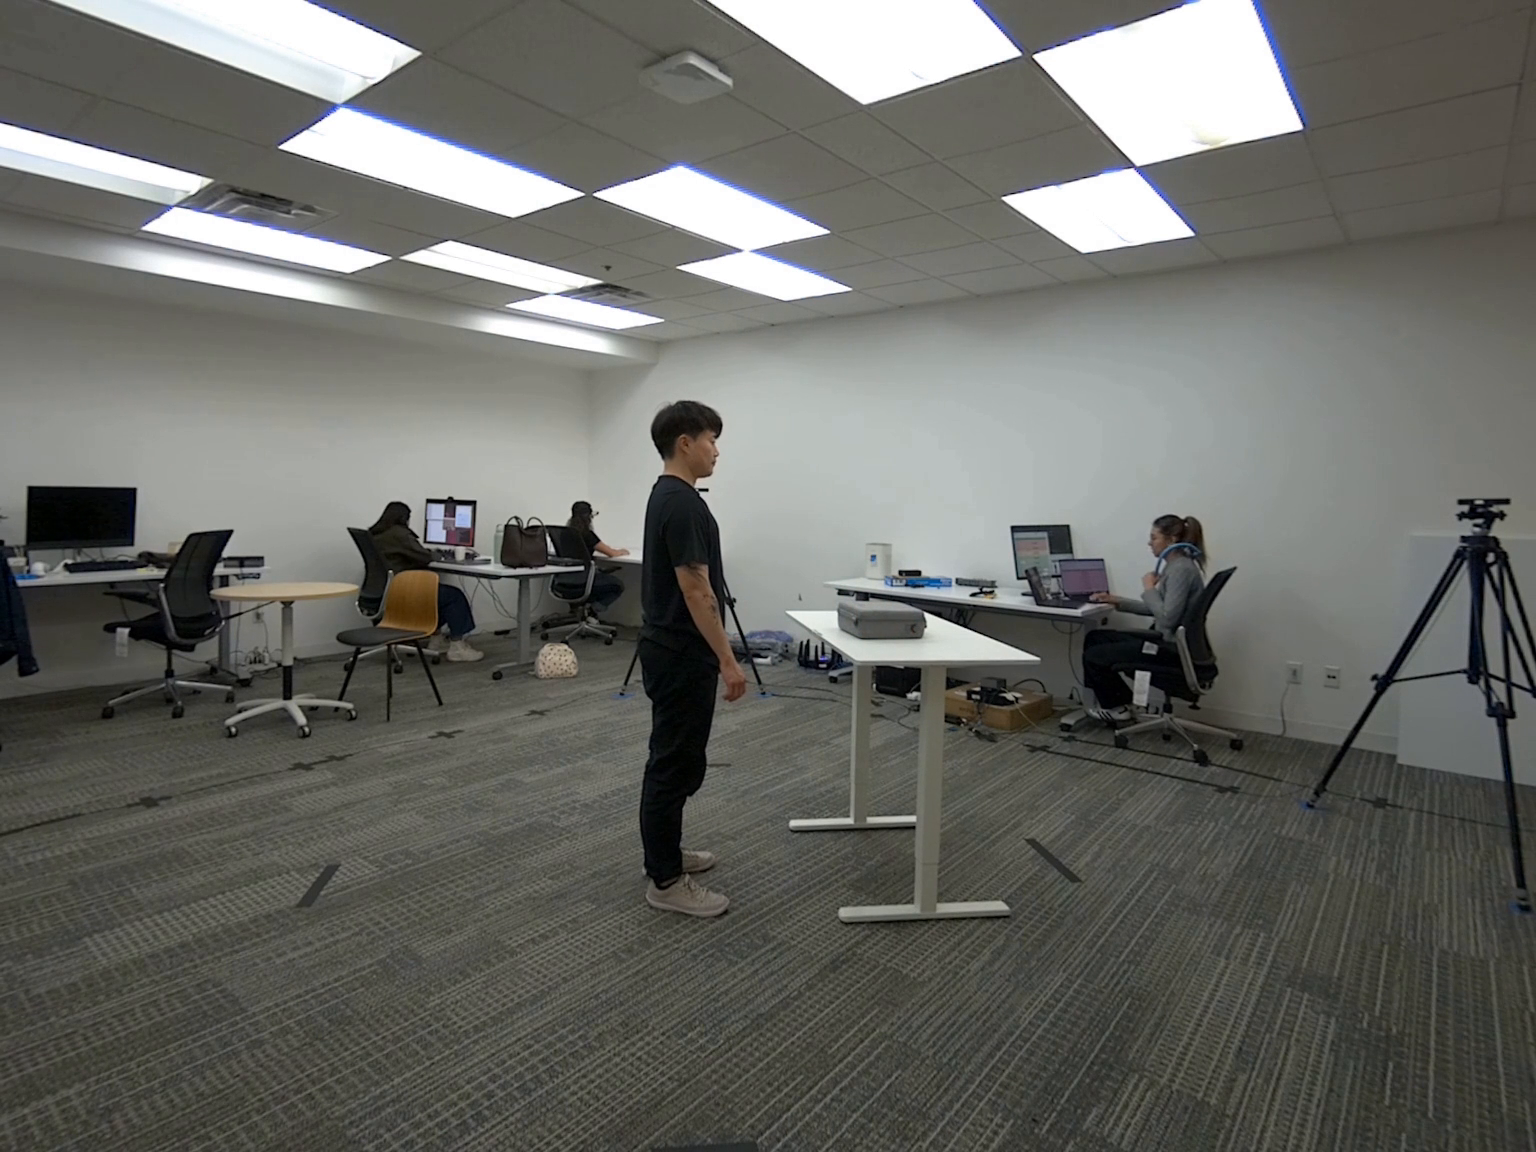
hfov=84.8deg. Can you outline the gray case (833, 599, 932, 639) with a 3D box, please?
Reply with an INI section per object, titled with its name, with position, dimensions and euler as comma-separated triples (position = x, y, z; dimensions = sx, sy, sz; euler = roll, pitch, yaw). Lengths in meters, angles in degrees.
[gray case]
position = 0.409, 0.154, 3.056
dimensions = 0.257, 0.104, 0.261
euler = 2, 4, -15
